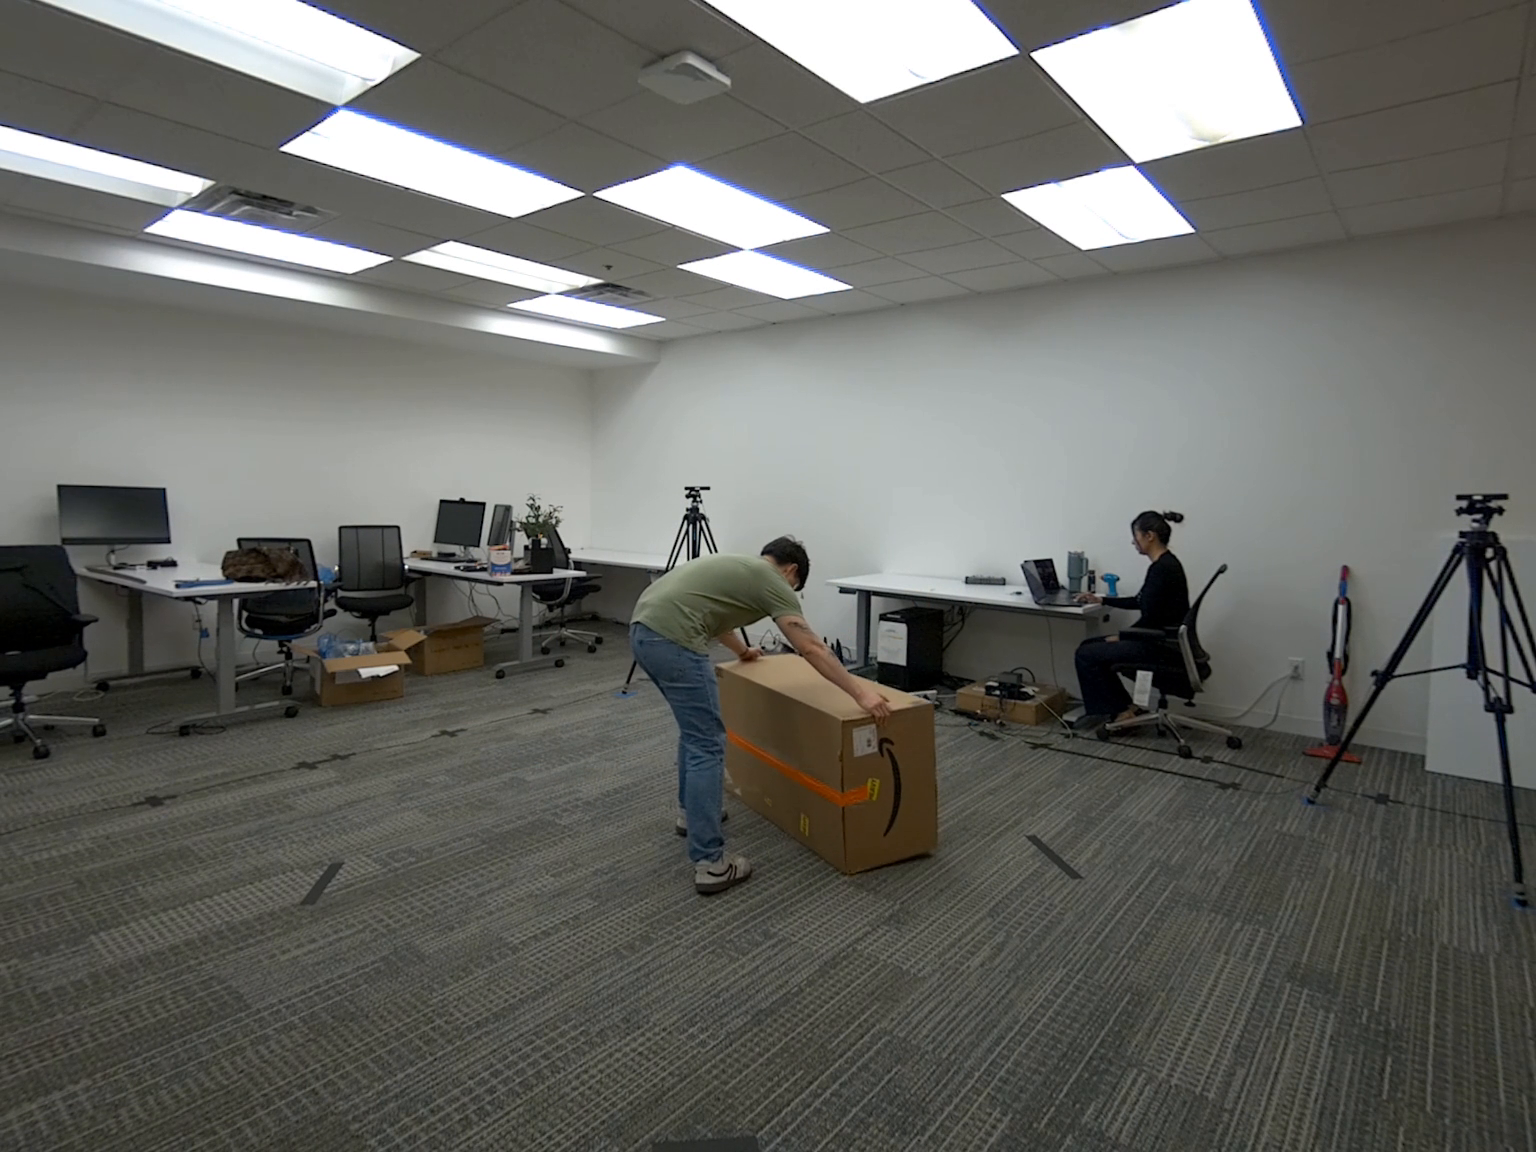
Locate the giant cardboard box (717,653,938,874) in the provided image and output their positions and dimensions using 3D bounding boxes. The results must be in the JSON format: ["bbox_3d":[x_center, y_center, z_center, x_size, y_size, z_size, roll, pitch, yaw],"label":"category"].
[{"bbox_3d":[0.190,0.711,3.585,0.416,0.574,1.056,-5,7,-29],"label":"giant cardboard box"}]
